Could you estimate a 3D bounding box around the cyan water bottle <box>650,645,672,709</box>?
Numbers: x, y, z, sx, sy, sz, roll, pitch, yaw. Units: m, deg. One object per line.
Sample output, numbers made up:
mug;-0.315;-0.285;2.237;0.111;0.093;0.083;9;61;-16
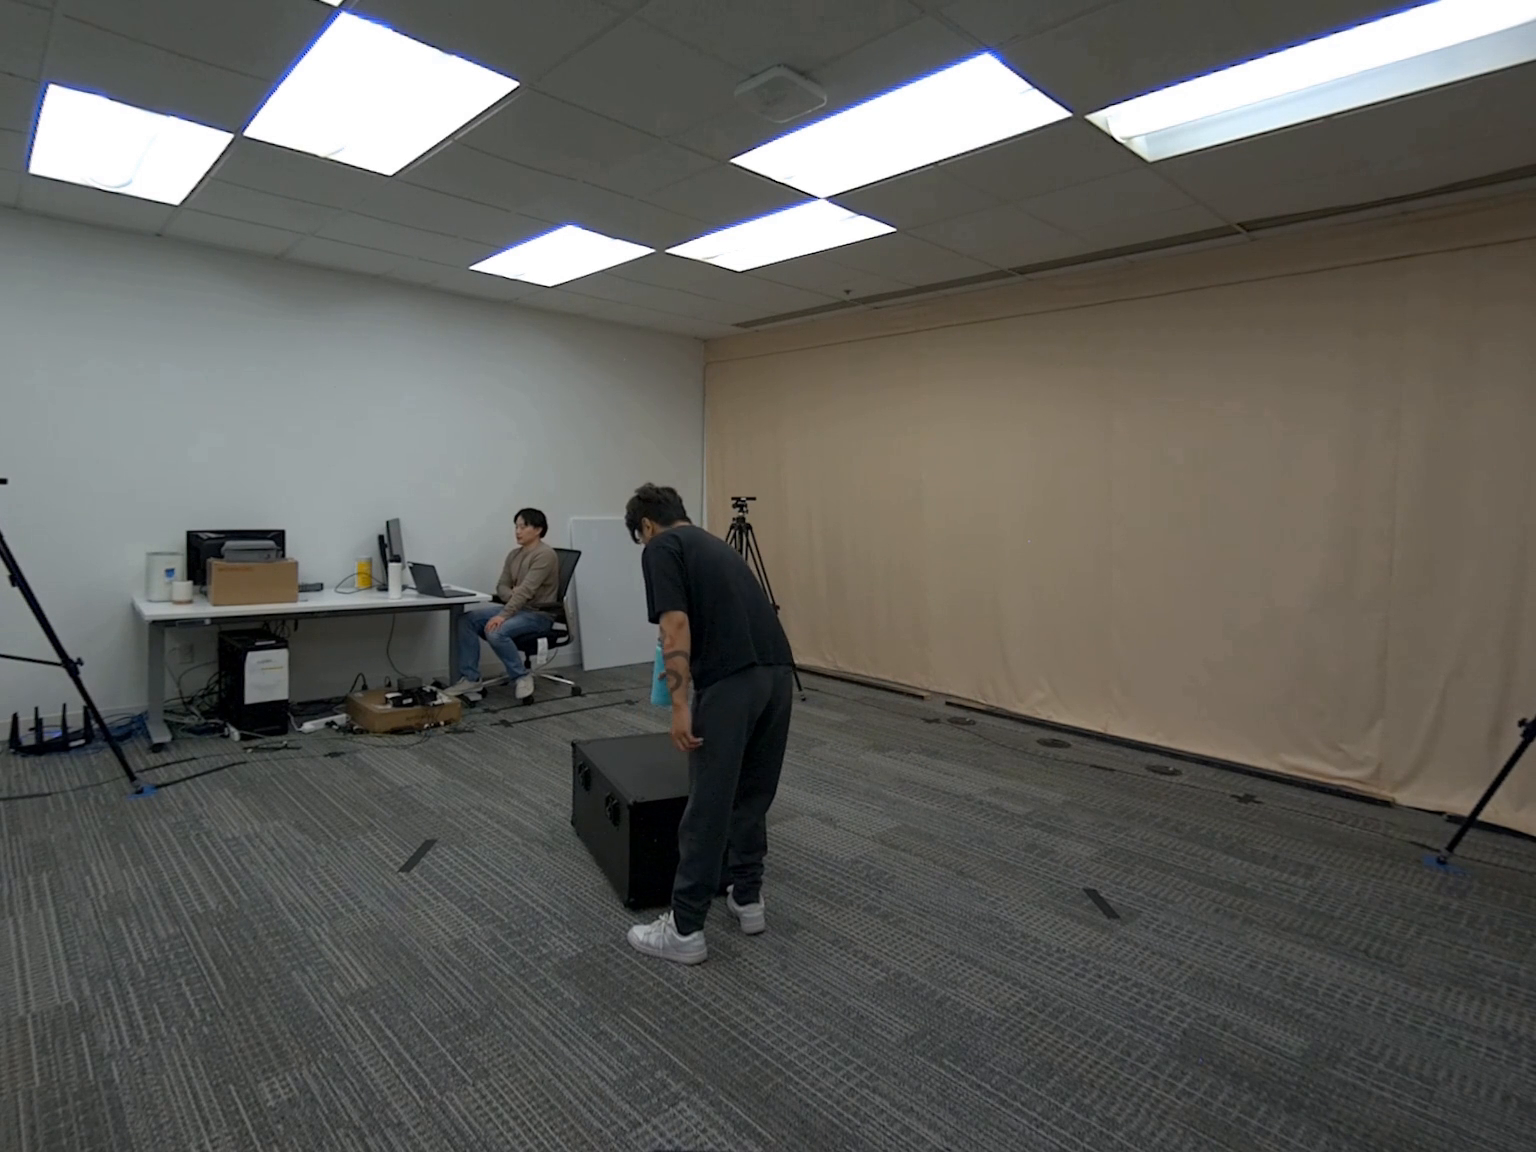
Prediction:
cyan water bottle;-0.402;0.355;3.252;0.092;0.282;0.093;8;4;-2
